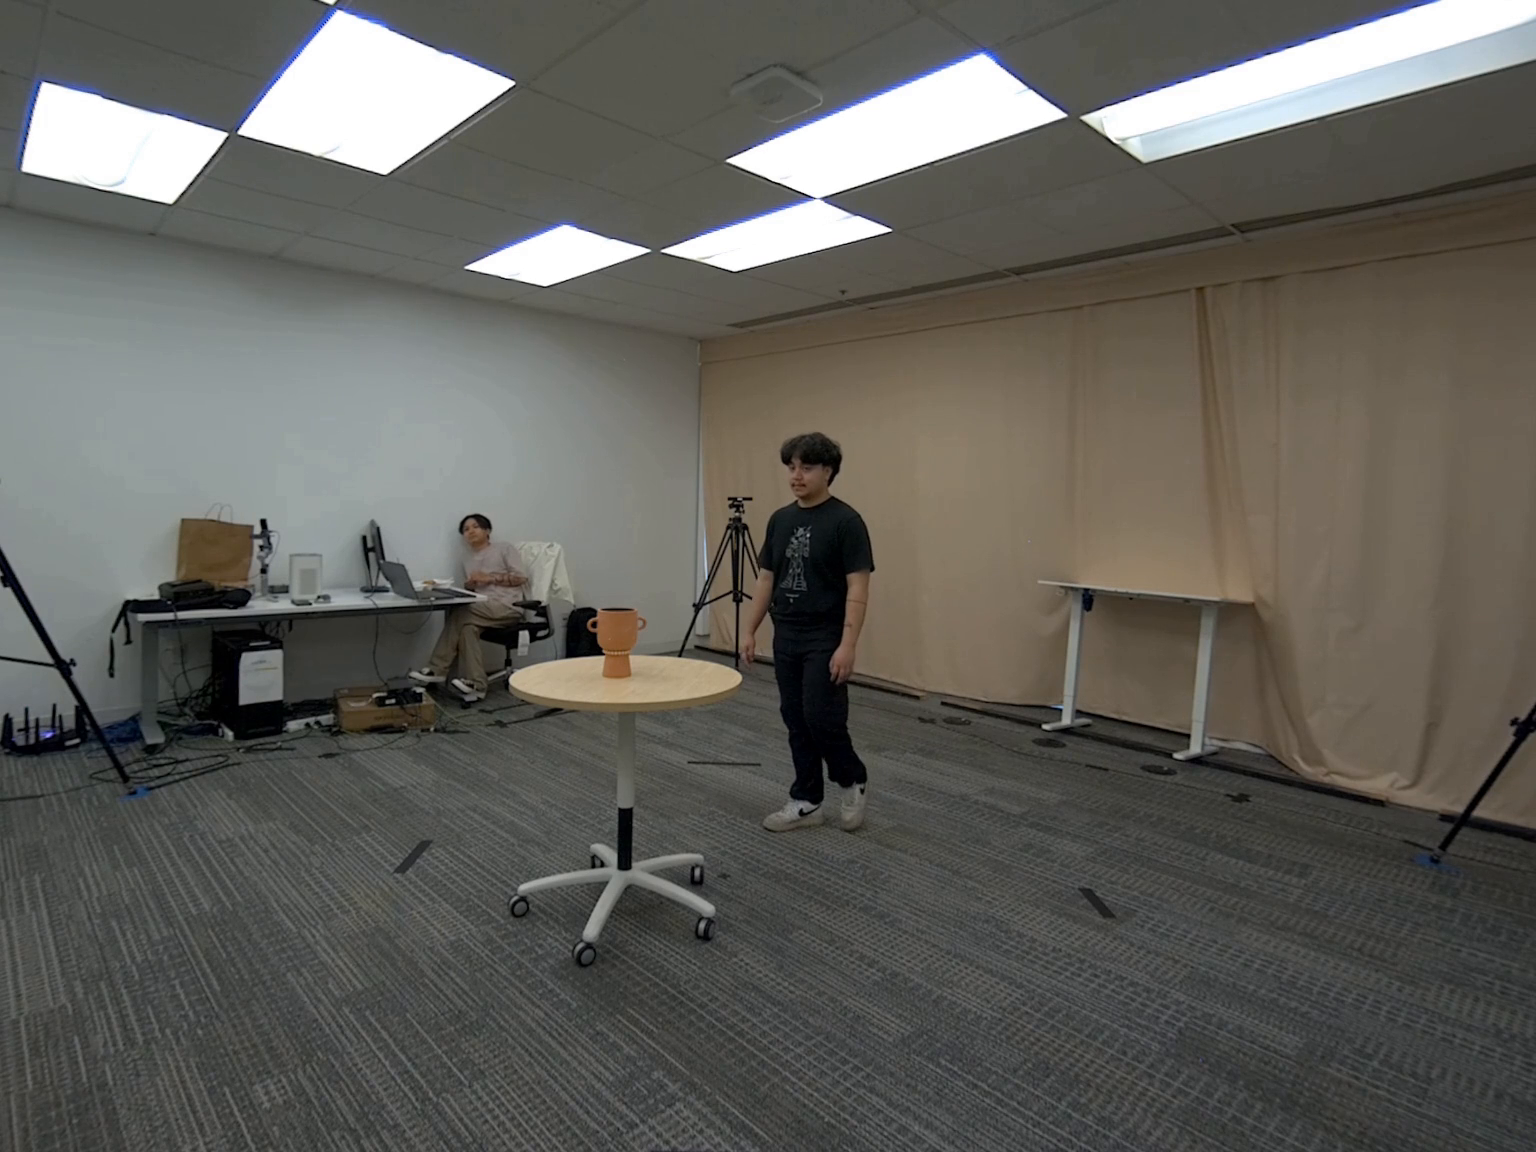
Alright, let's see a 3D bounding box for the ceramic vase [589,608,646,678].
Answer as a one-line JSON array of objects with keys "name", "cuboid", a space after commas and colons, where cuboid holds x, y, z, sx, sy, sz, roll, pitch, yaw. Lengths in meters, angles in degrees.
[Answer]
[{"name": "ceramic vase", "cuboid": [-0.515, 0.226, 2.801, 0.161, 0.219, 0.133, 1, 4, 19]}]
